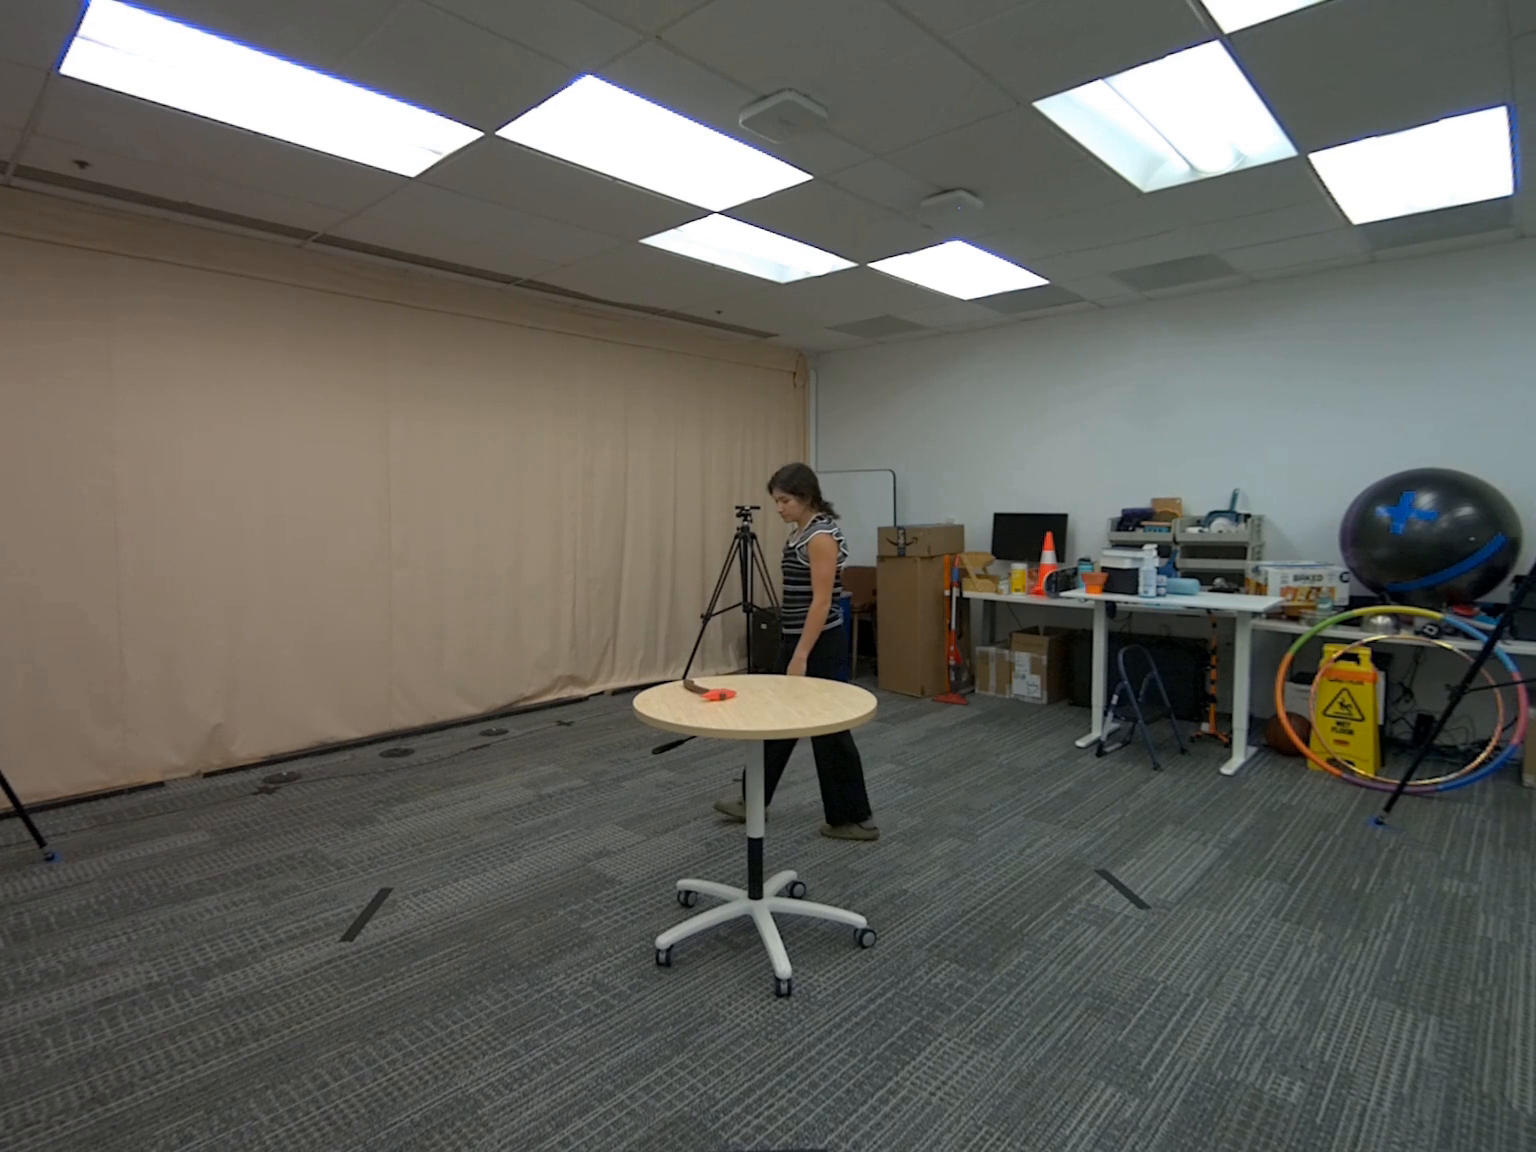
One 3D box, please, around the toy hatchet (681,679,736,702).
[{"bbox_3d":[-0.187,0.374,2.752,0.129,0.029,0.275,0,3,-17],"label":"toy hatchet"}]
